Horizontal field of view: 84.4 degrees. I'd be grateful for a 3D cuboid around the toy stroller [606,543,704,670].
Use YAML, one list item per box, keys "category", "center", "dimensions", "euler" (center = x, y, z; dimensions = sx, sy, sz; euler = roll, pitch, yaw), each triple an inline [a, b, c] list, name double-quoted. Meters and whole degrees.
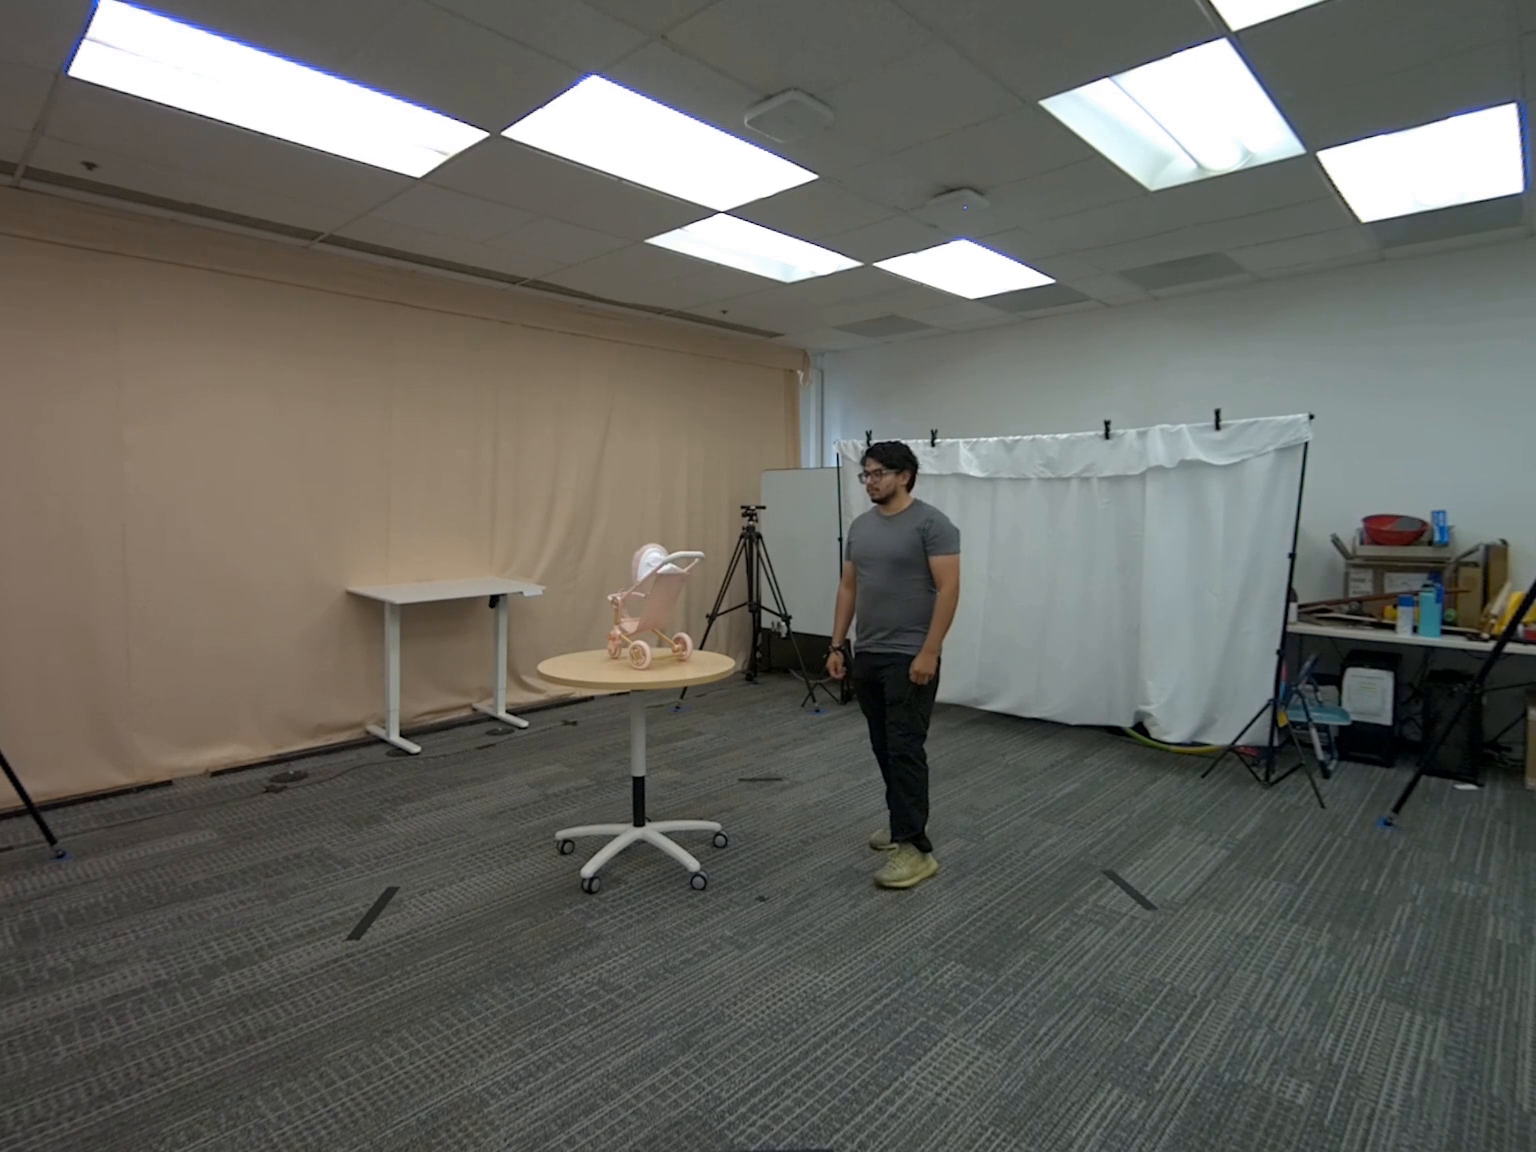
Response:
- category: "toy stroller"
  center: [-0.462, 0.119, 3.282]
  dimensions: [0.354, 0.532, 0.273]
  euler: [21, 14, 37]
